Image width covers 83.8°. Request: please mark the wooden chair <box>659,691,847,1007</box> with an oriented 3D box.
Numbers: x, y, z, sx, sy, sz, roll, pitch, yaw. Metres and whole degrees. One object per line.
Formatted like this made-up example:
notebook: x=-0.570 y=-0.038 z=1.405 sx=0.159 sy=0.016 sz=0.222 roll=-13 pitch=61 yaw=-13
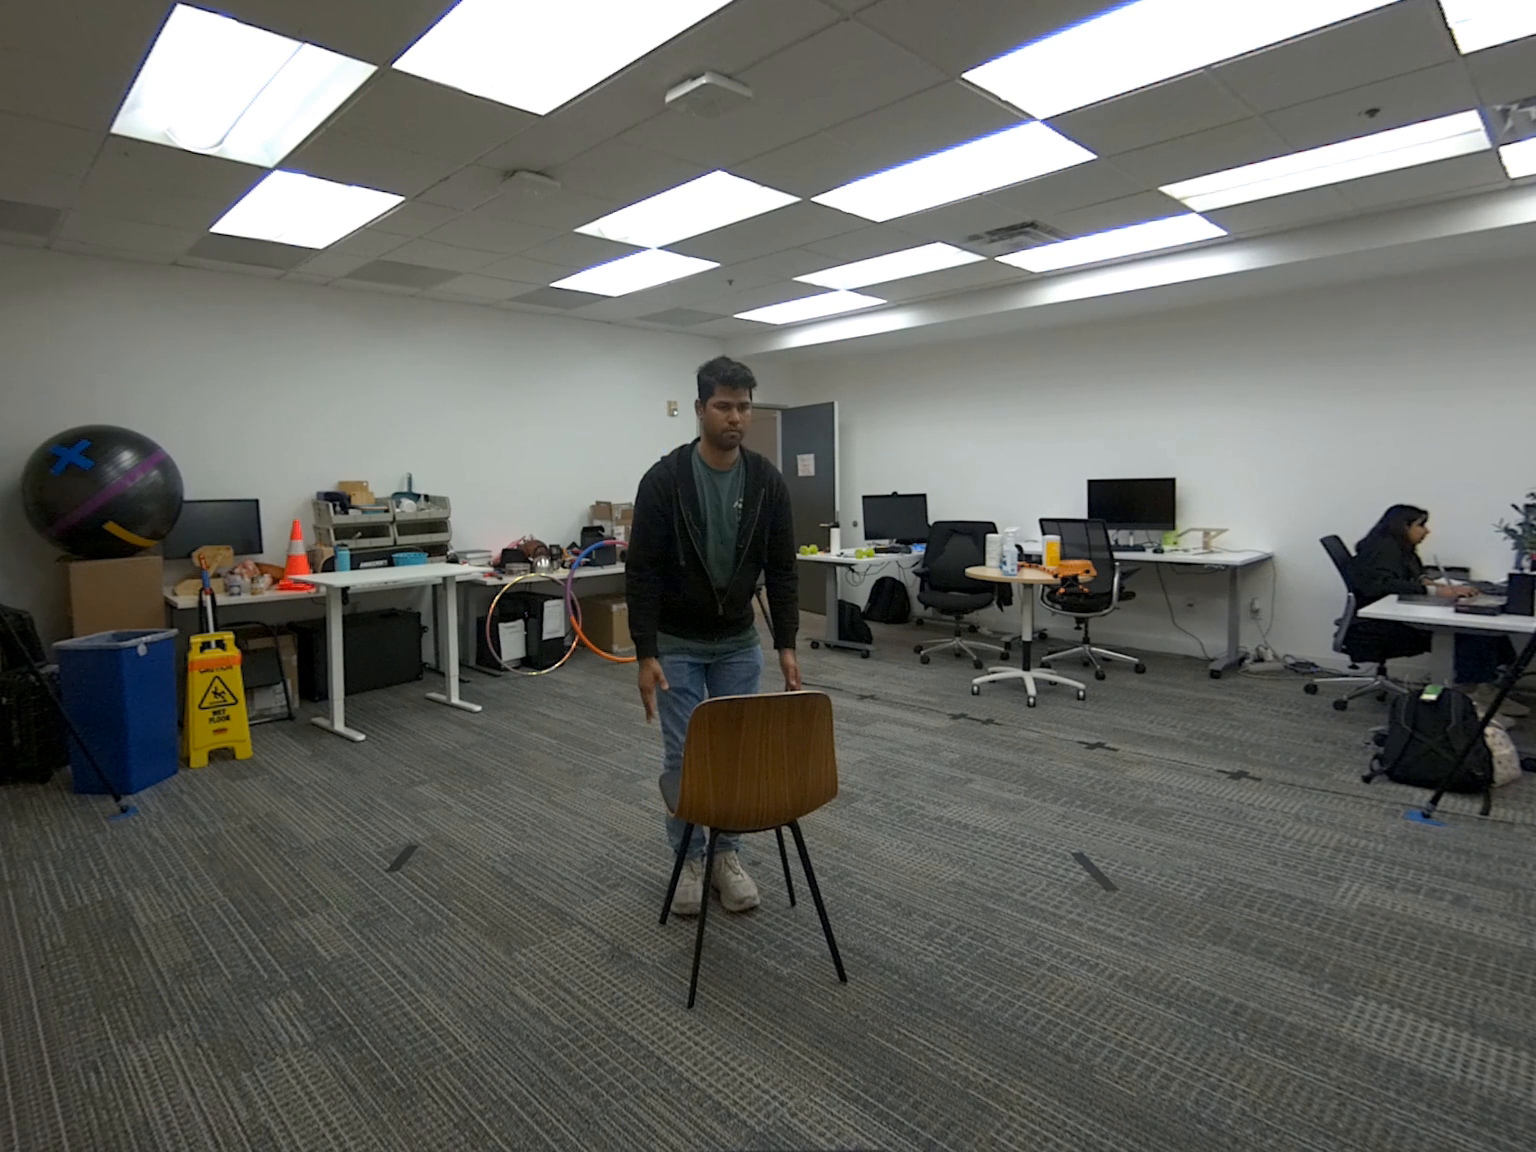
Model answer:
wooden chair: x=-0.065 y=0.686 z=2.505 sx=0.472 sy=0.870 sz=0.534 roll=-3 pitch=9 yaw=-15
